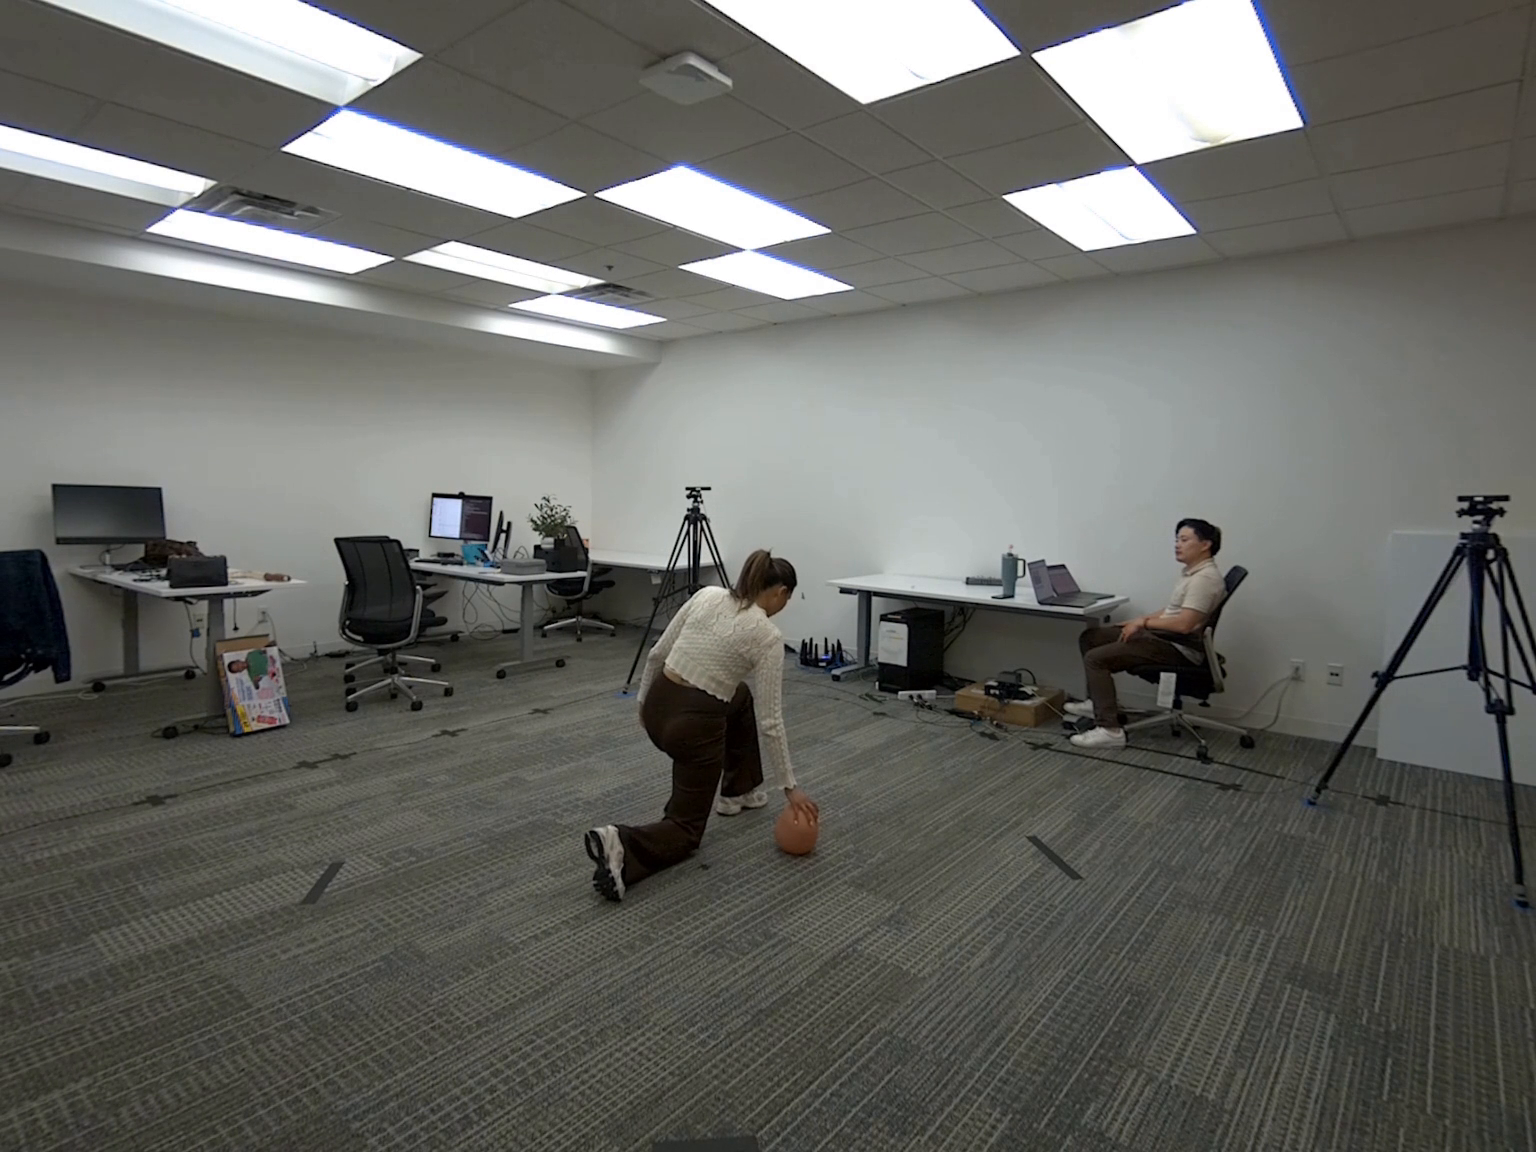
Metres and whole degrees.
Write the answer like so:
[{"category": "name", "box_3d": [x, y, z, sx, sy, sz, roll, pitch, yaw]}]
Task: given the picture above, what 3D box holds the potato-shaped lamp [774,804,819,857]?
[{"category": "potato-shaped lamp", "box_3d": [0.108, 0.949, 3.262, 0.161, 0.194, 0.178, -7, 25, -25]}]
